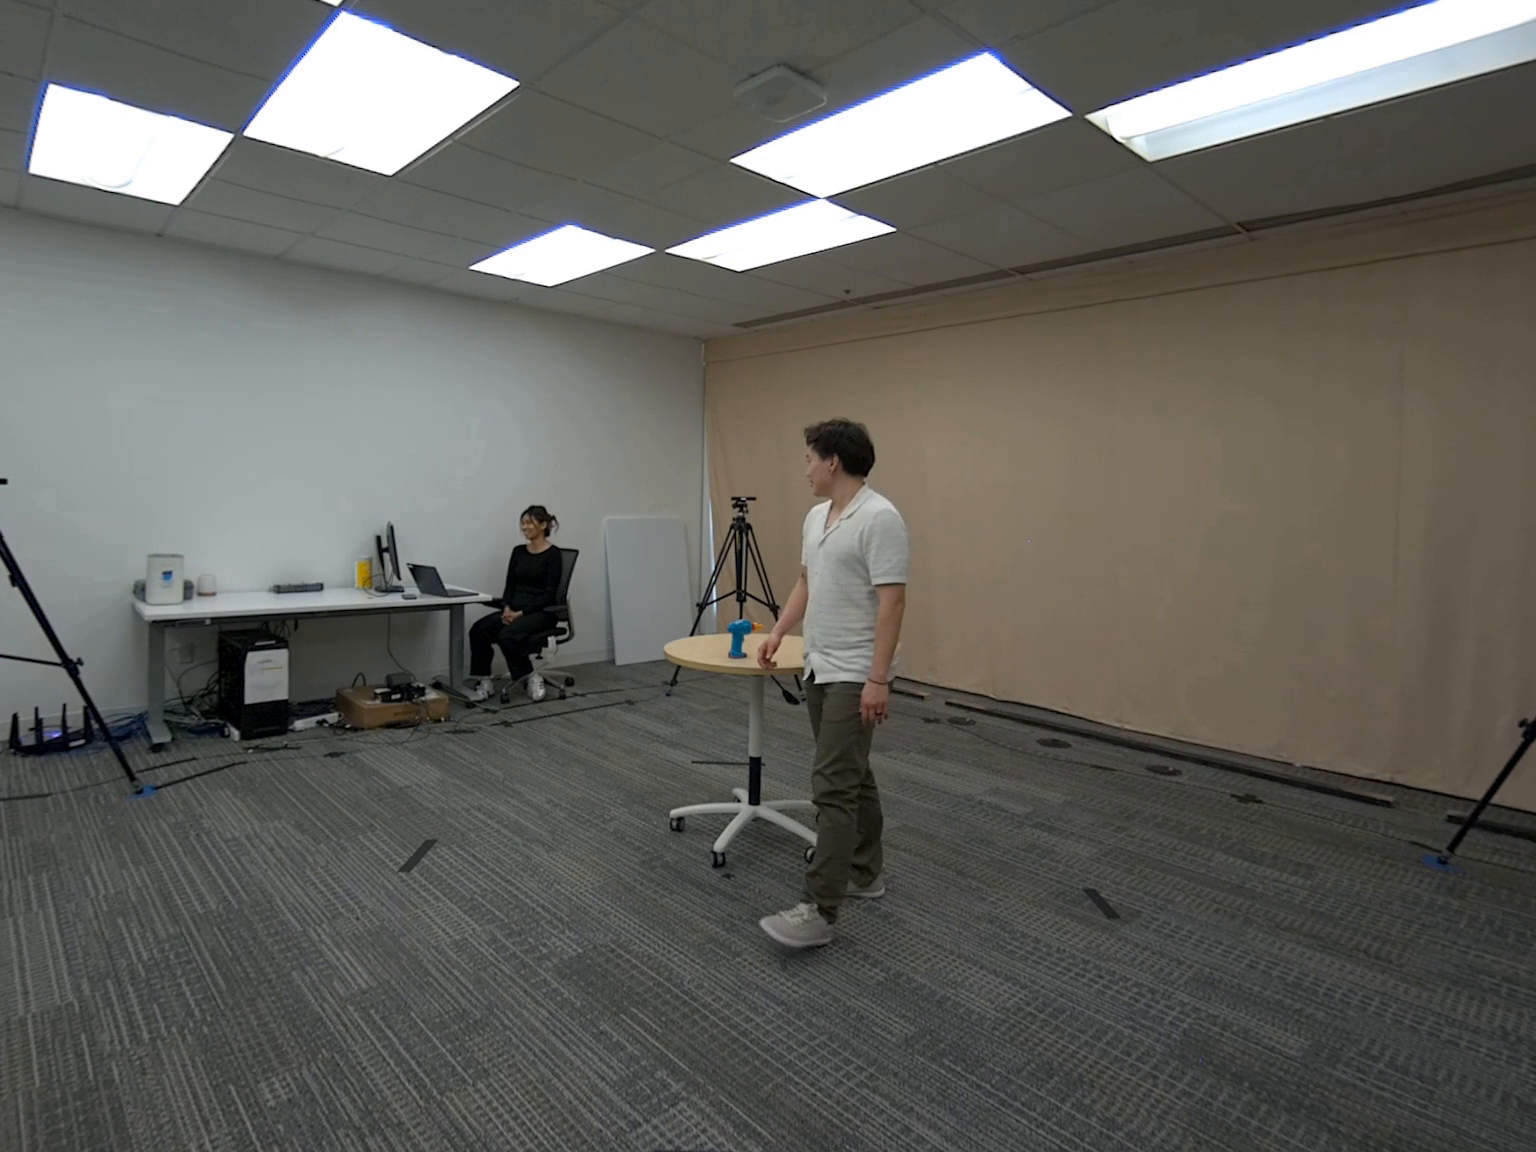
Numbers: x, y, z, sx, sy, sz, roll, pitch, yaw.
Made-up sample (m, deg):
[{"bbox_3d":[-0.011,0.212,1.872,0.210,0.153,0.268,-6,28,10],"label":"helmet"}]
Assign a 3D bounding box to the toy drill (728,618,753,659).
[{"bbox_3d":[-0.091,0.241,3.253,0.166,0.146,0.062,-2,1,-32],"label":"toy drill"}]
